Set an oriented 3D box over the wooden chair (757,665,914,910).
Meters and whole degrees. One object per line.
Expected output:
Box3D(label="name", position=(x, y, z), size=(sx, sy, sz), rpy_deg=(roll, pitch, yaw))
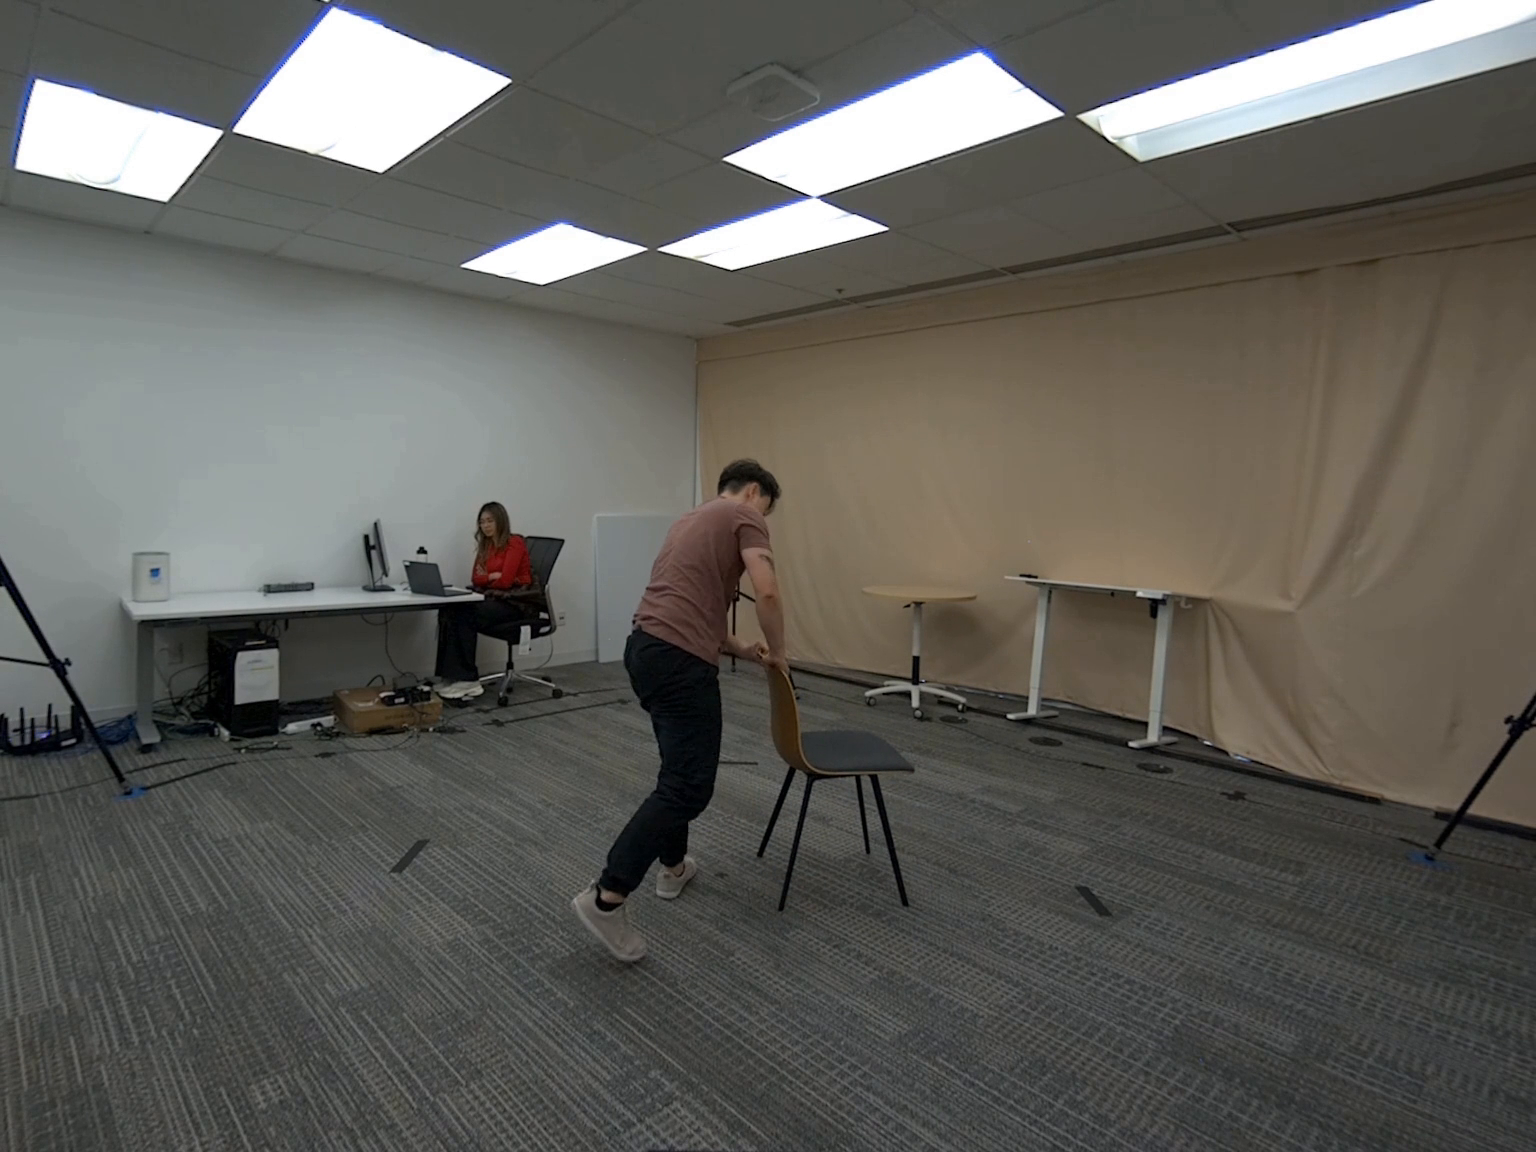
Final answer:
Box3D(label="wooden chair", position=(0.235, 0.690, 3.061), size=(0.520, 0.875, 0.482), rpy_deg=(-3, 3, -9))
